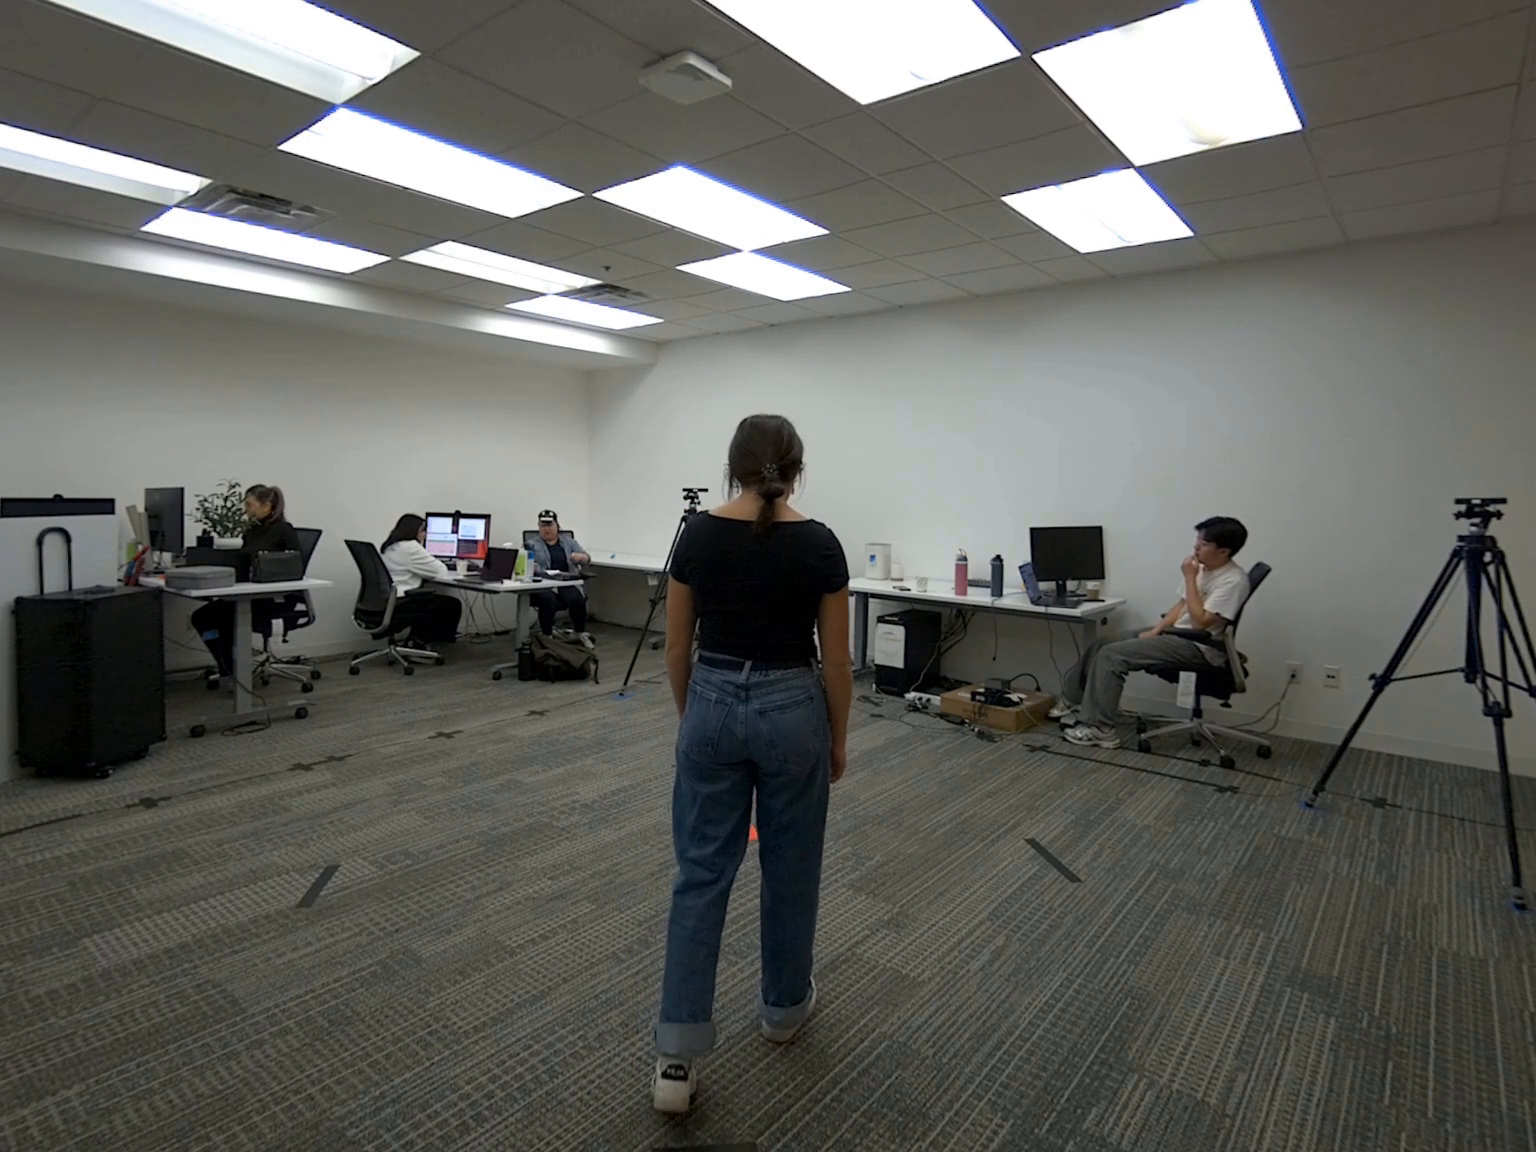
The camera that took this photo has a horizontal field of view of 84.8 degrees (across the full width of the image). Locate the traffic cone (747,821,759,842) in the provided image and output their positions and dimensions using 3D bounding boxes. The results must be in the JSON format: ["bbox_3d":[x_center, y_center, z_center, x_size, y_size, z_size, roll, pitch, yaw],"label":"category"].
[{"bbox_3d":[-0.138,0.839,3.458,0.201,0.382,0.208,-1,5,-12],"label":"traffic cone"}]
